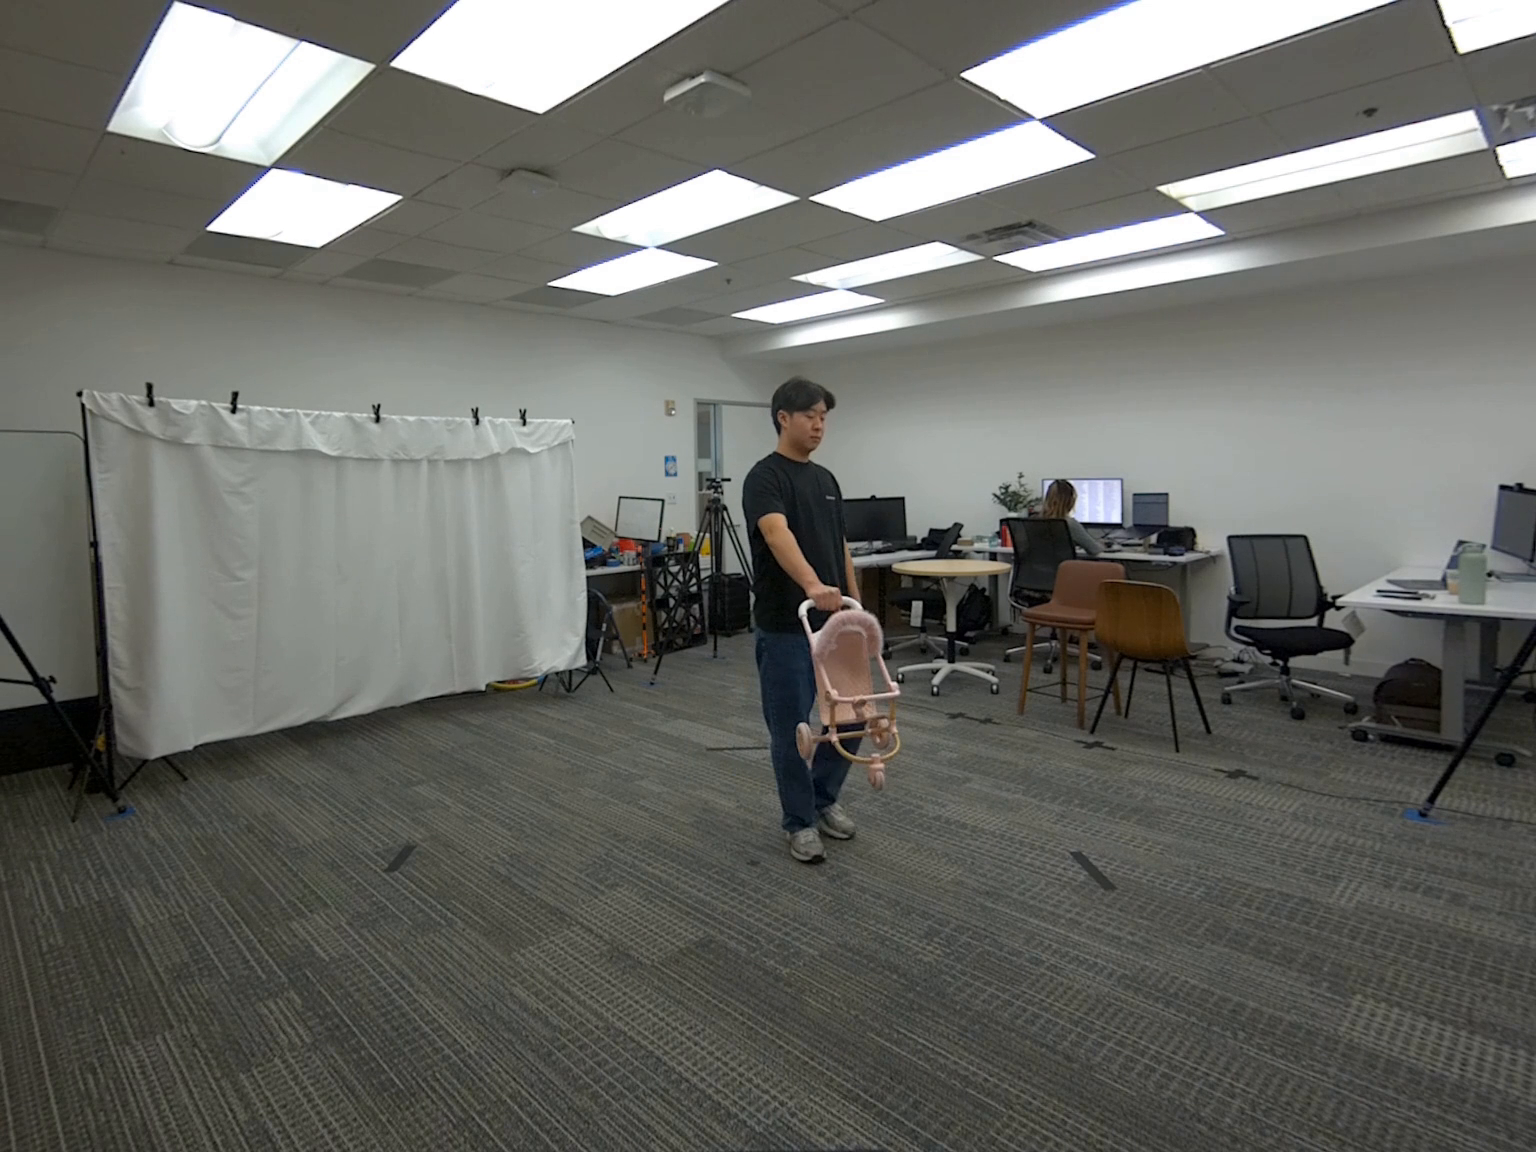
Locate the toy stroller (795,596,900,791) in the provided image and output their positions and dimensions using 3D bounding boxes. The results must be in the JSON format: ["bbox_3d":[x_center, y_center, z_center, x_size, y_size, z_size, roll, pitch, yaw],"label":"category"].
[{"bbox_3d":[0.242,0.341,2.519,0.278,0.536,0.344,-4,-2,-12],"label":"toy stroller"}]
